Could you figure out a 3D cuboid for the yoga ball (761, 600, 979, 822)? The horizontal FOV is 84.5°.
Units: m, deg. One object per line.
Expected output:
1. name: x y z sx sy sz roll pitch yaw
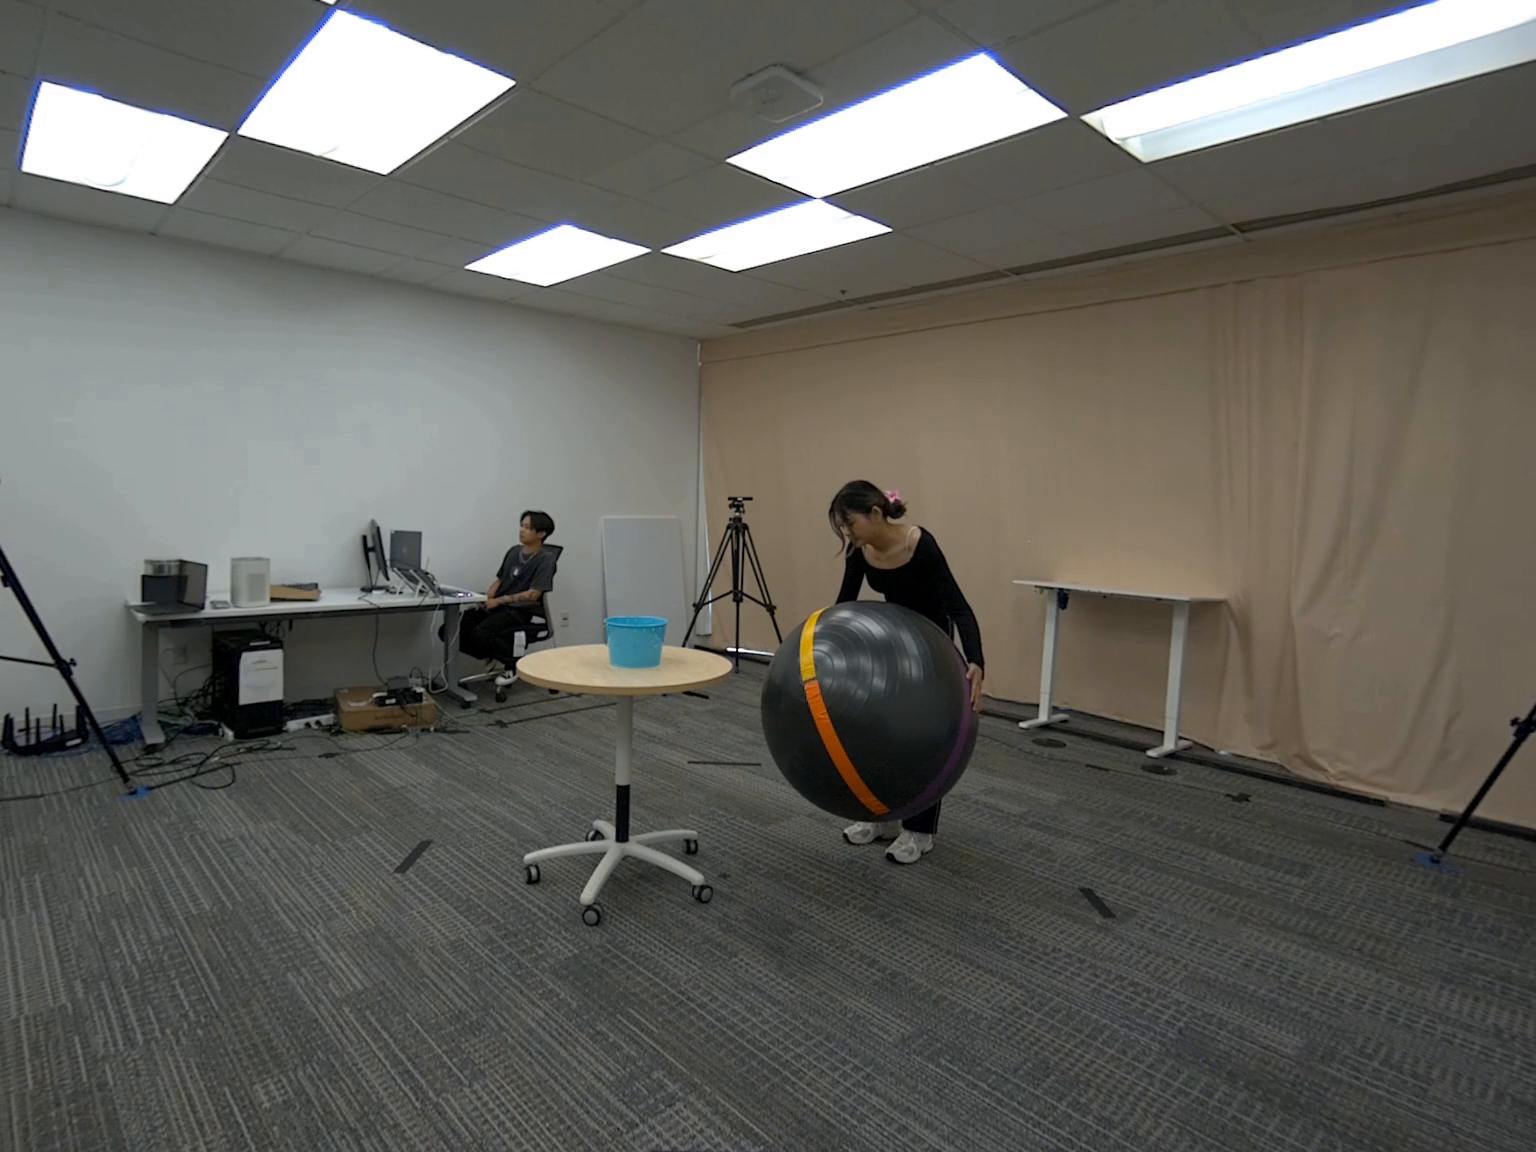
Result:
1. yoga ball: 0.360 0.473 2.950 0.757 0.756 0.761 1 4 -1
